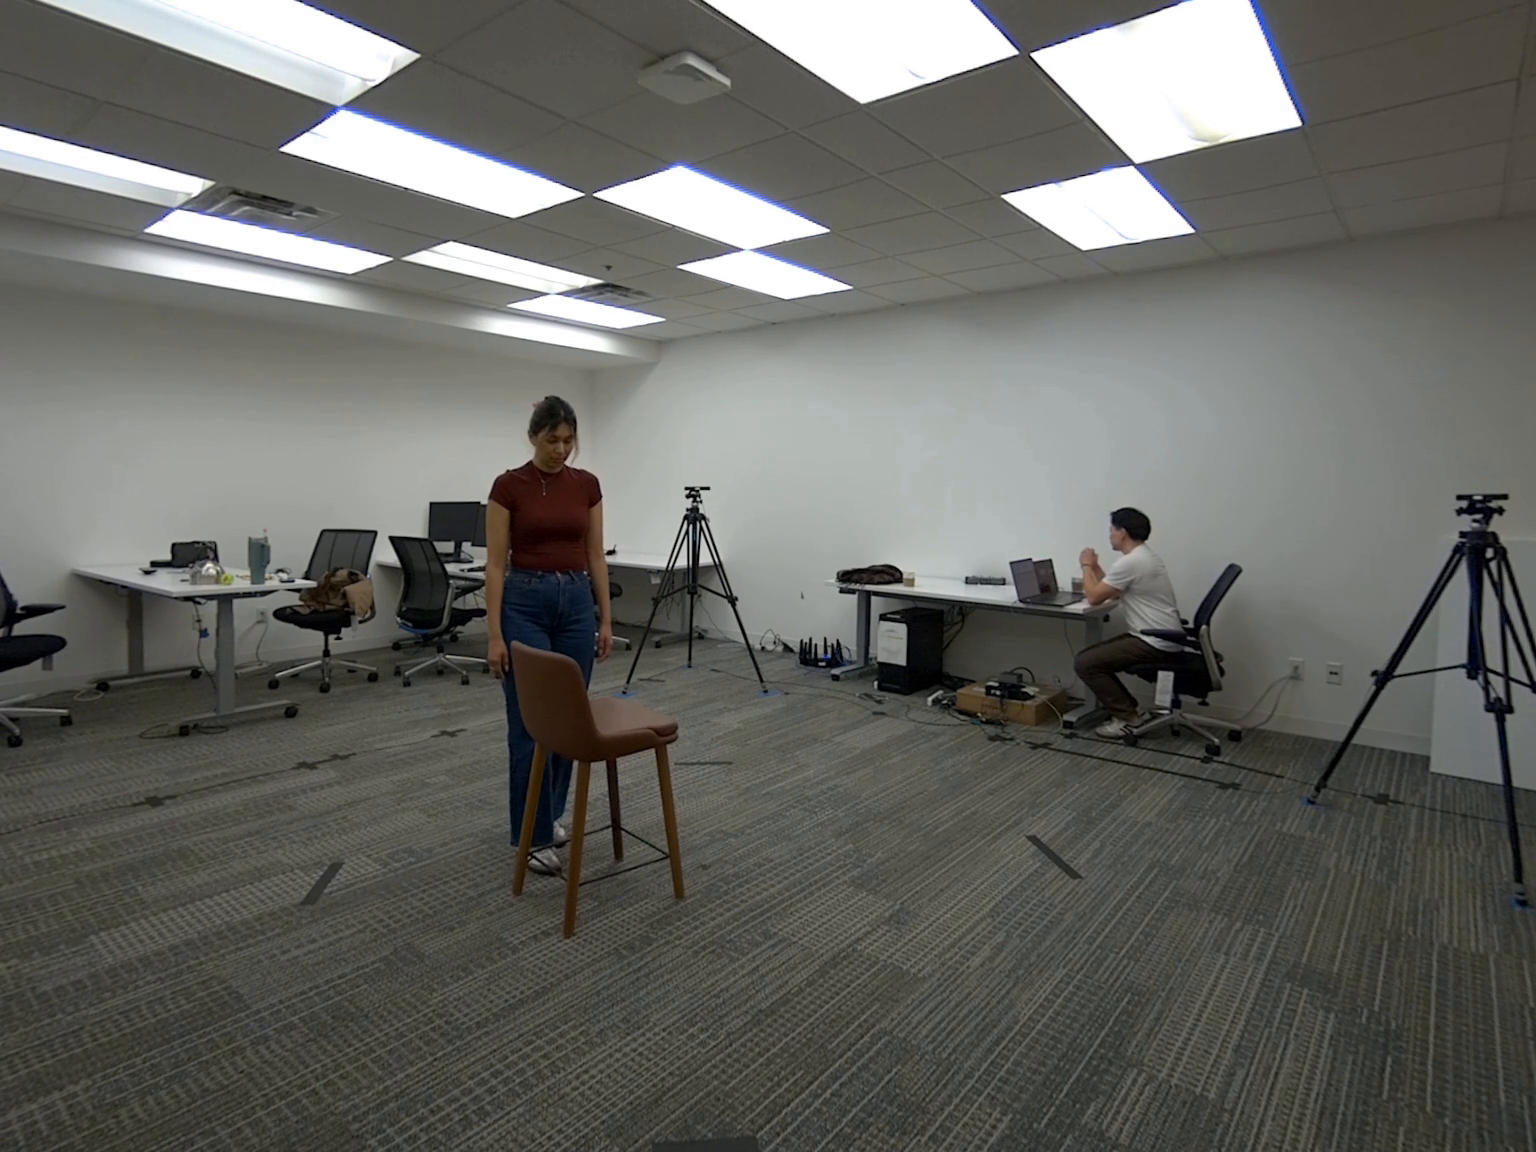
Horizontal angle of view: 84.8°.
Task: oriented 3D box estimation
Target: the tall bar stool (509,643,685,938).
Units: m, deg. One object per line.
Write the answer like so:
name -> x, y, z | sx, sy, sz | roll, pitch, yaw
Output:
tall bar stool -> -0.585, 0.650, 2.866 | 0.454, 0.886, 0.472 | -4, 6, -42
